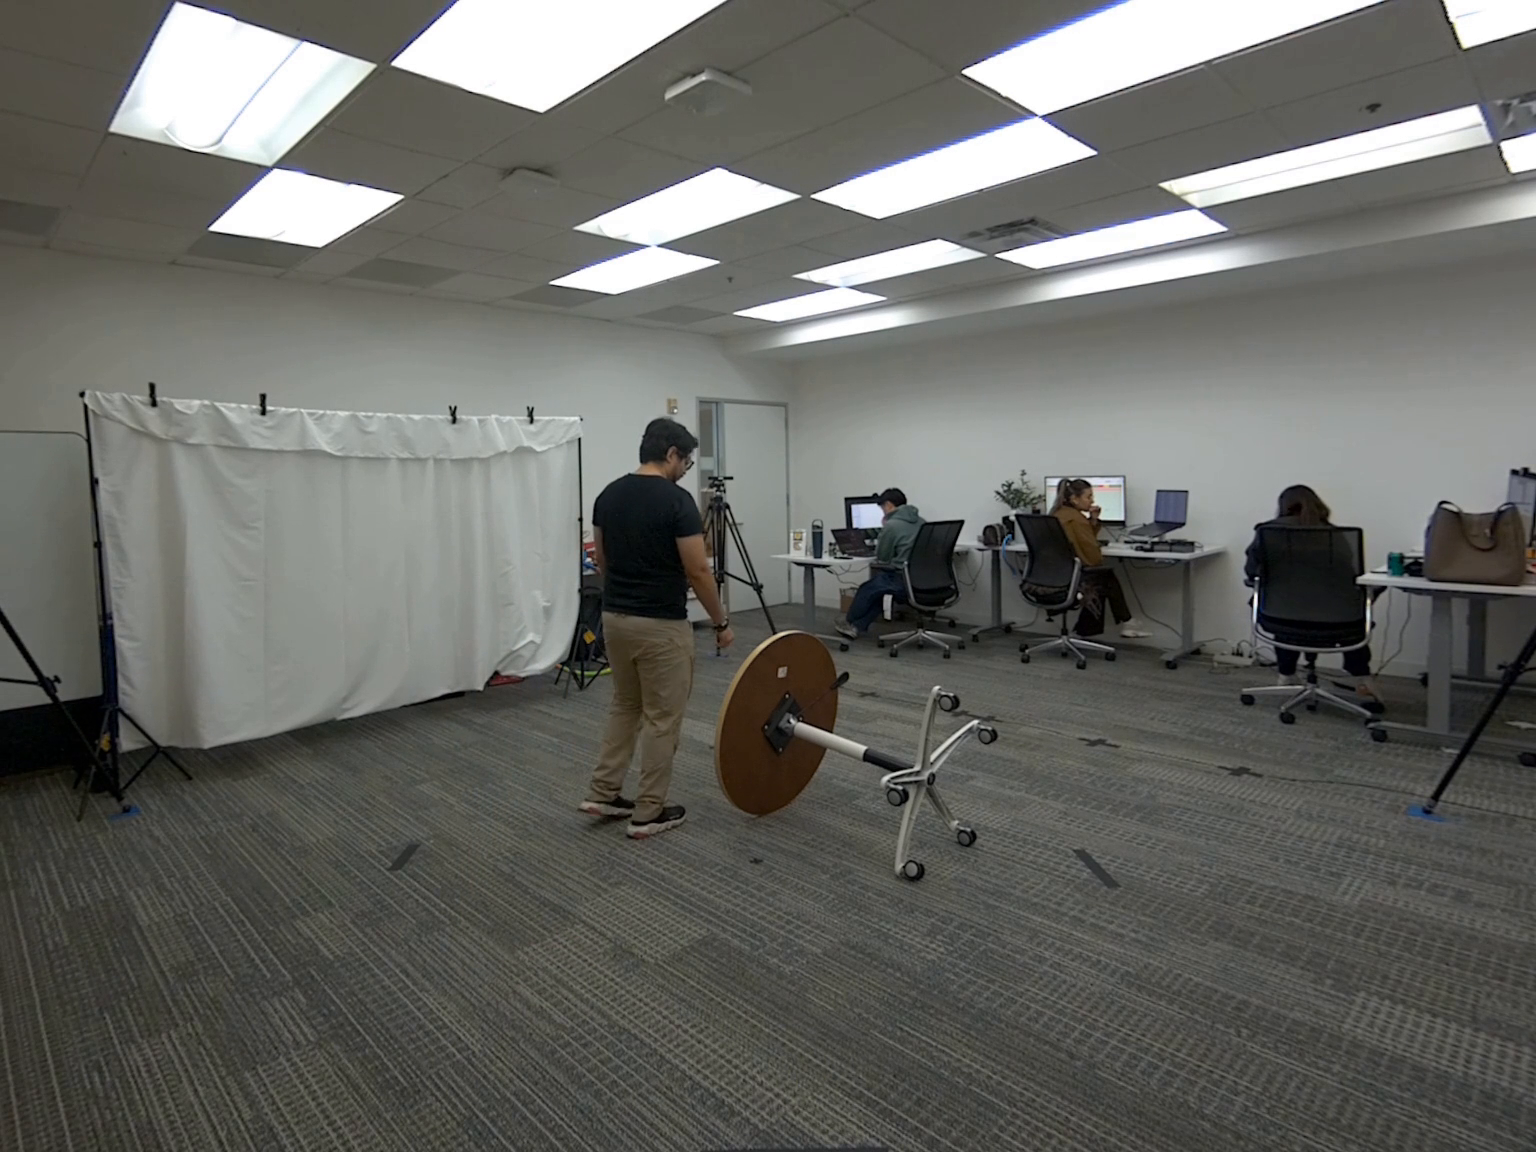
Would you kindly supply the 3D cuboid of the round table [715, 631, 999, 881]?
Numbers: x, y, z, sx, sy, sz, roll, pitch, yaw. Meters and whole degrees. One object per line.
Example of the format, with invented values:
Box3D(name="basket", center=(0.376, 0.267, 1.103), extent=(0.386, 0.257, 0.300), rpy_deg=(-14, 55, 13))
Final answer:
Box3D(name="round table", center=(0.342, 0.676, 3.264), extent=(0.814, 0.779, 0.765), rpy_deg=(13, 13, 41))
